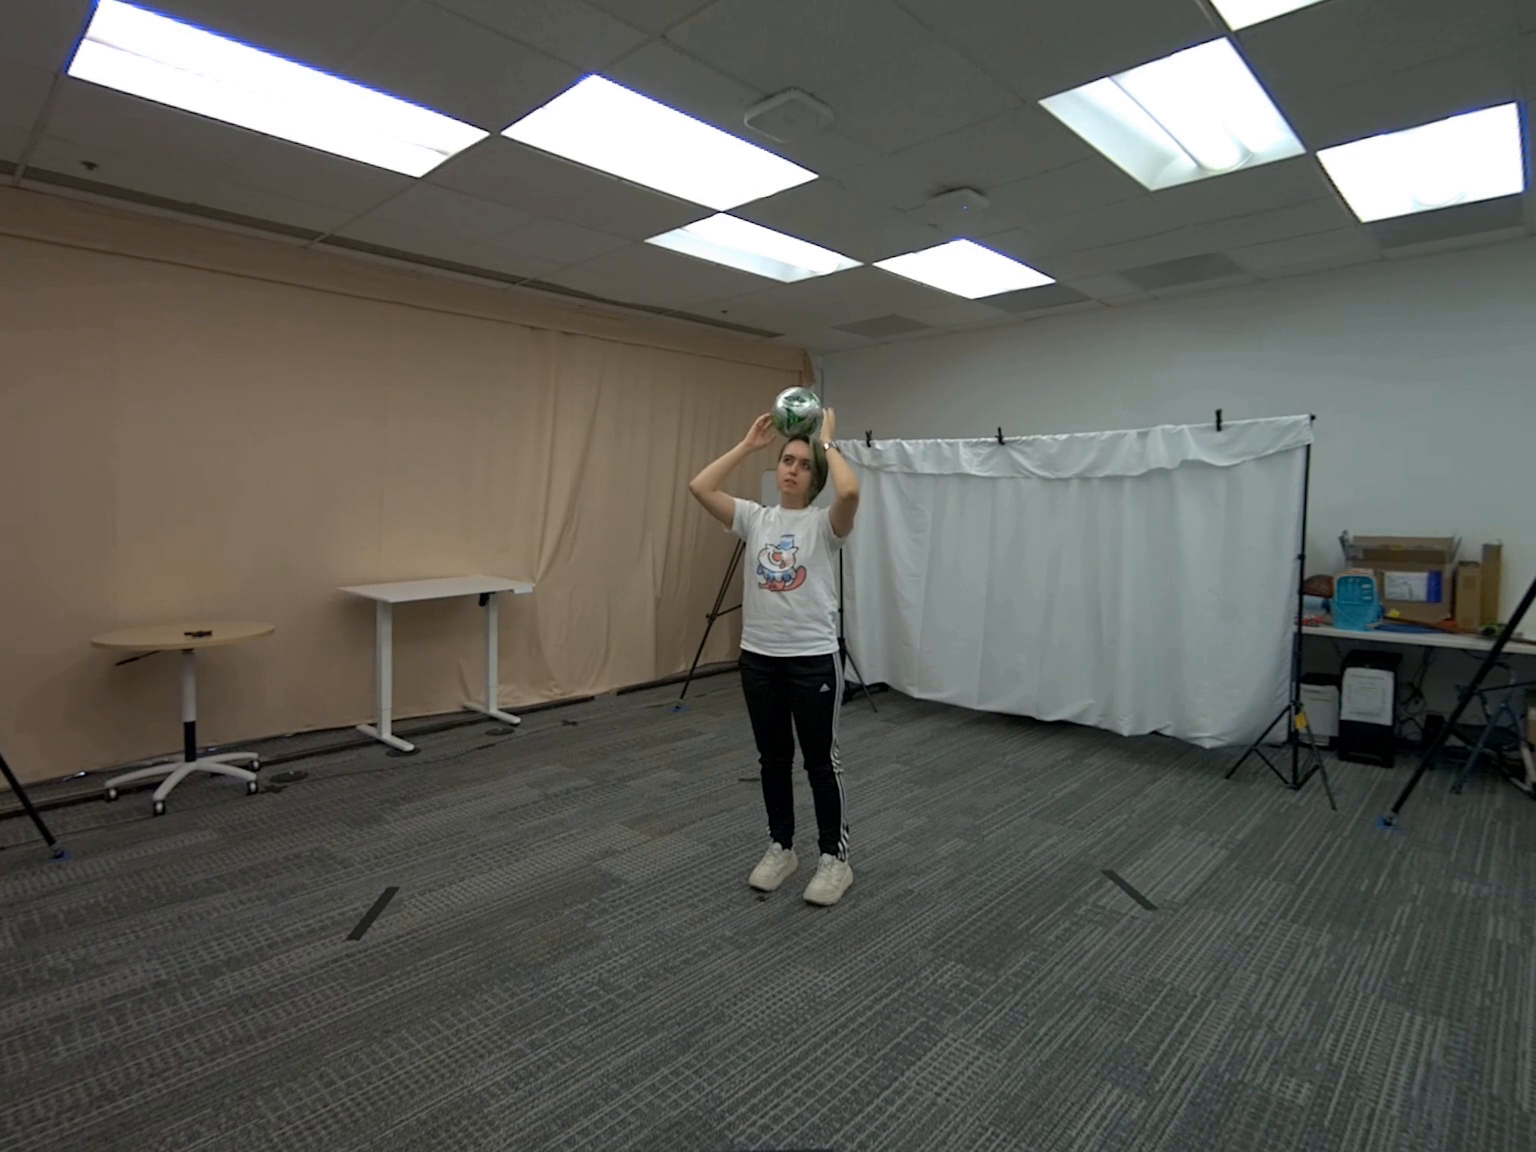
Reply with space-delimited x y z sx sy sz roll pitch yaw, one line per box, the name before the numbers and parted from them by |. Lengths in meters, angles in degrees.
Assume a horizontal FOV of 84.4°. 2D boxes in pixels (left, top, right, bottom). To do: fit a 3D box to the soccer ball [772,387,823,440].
soccer ball | 0.109 -0.581 3.033 0.187 0.187 0.188 0 4 -2
